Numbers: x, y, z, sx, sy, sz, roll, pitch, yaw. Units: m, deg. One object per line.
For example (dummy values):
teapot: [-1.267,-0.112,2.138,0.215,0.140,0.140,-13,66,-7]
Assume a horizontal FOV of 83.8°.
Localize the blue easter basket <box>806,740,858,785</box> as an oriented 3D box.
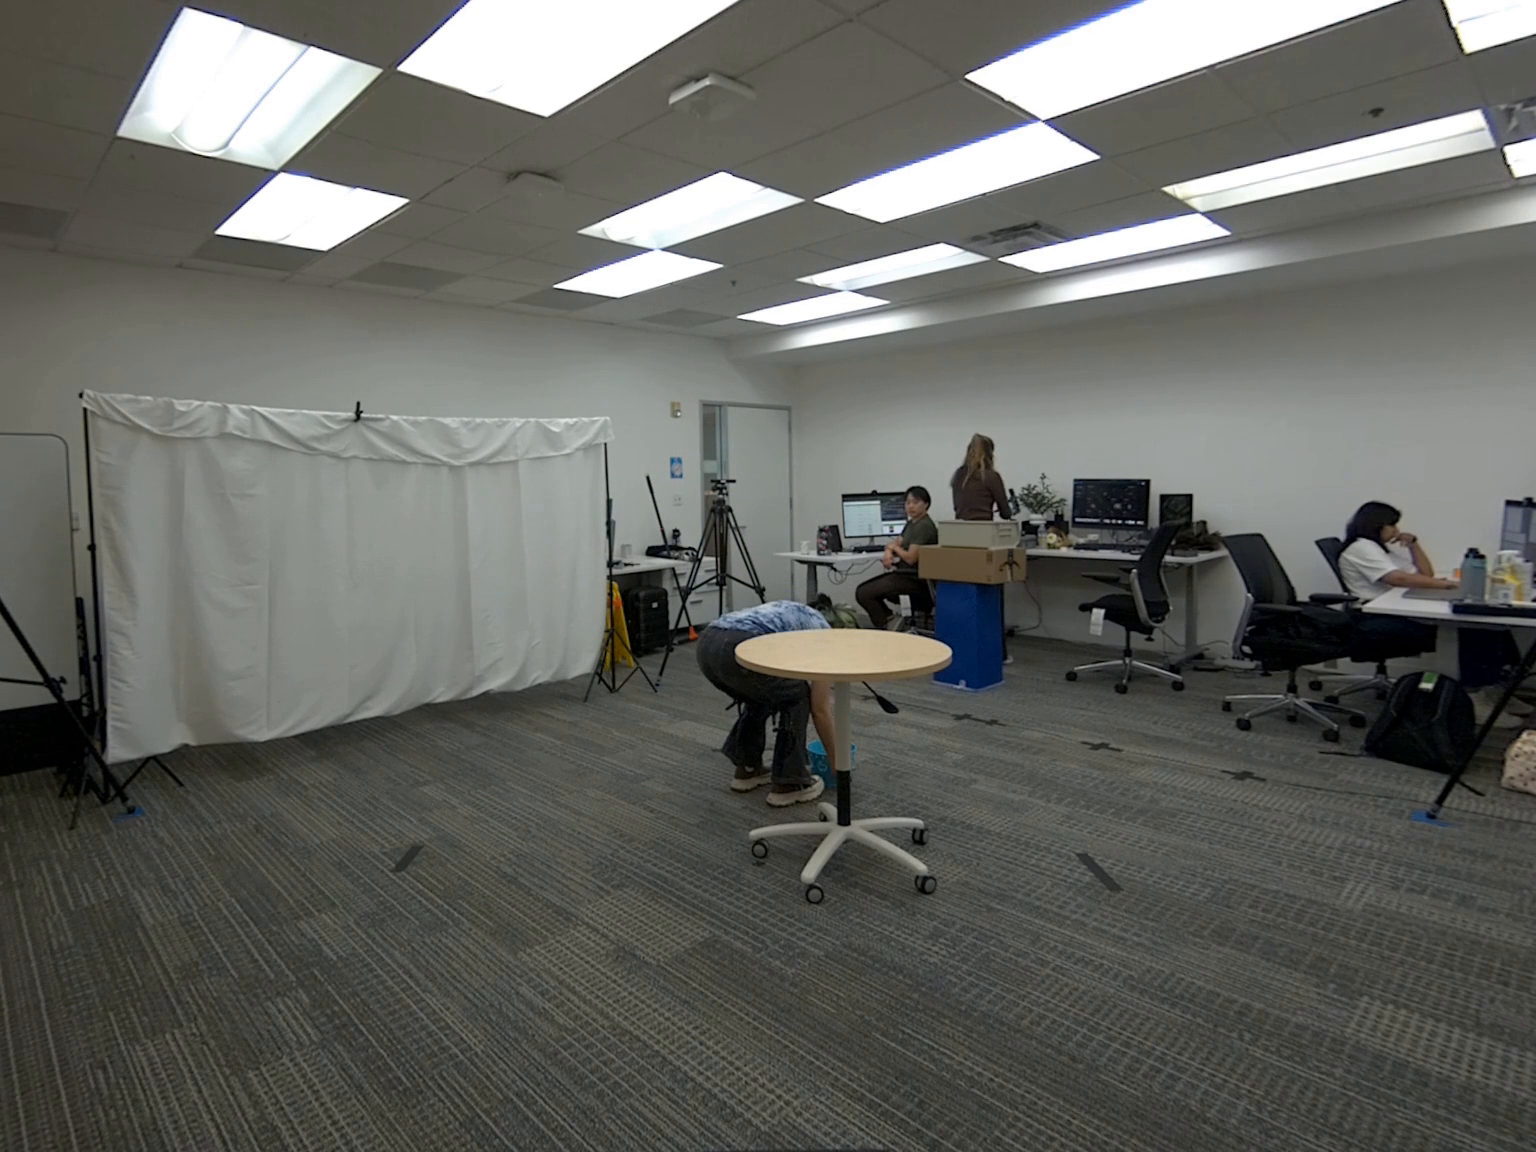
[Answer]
blue easter basket: [0.297,0.865,3.963,0.243,0.155,0.245,-1,5,-2]
